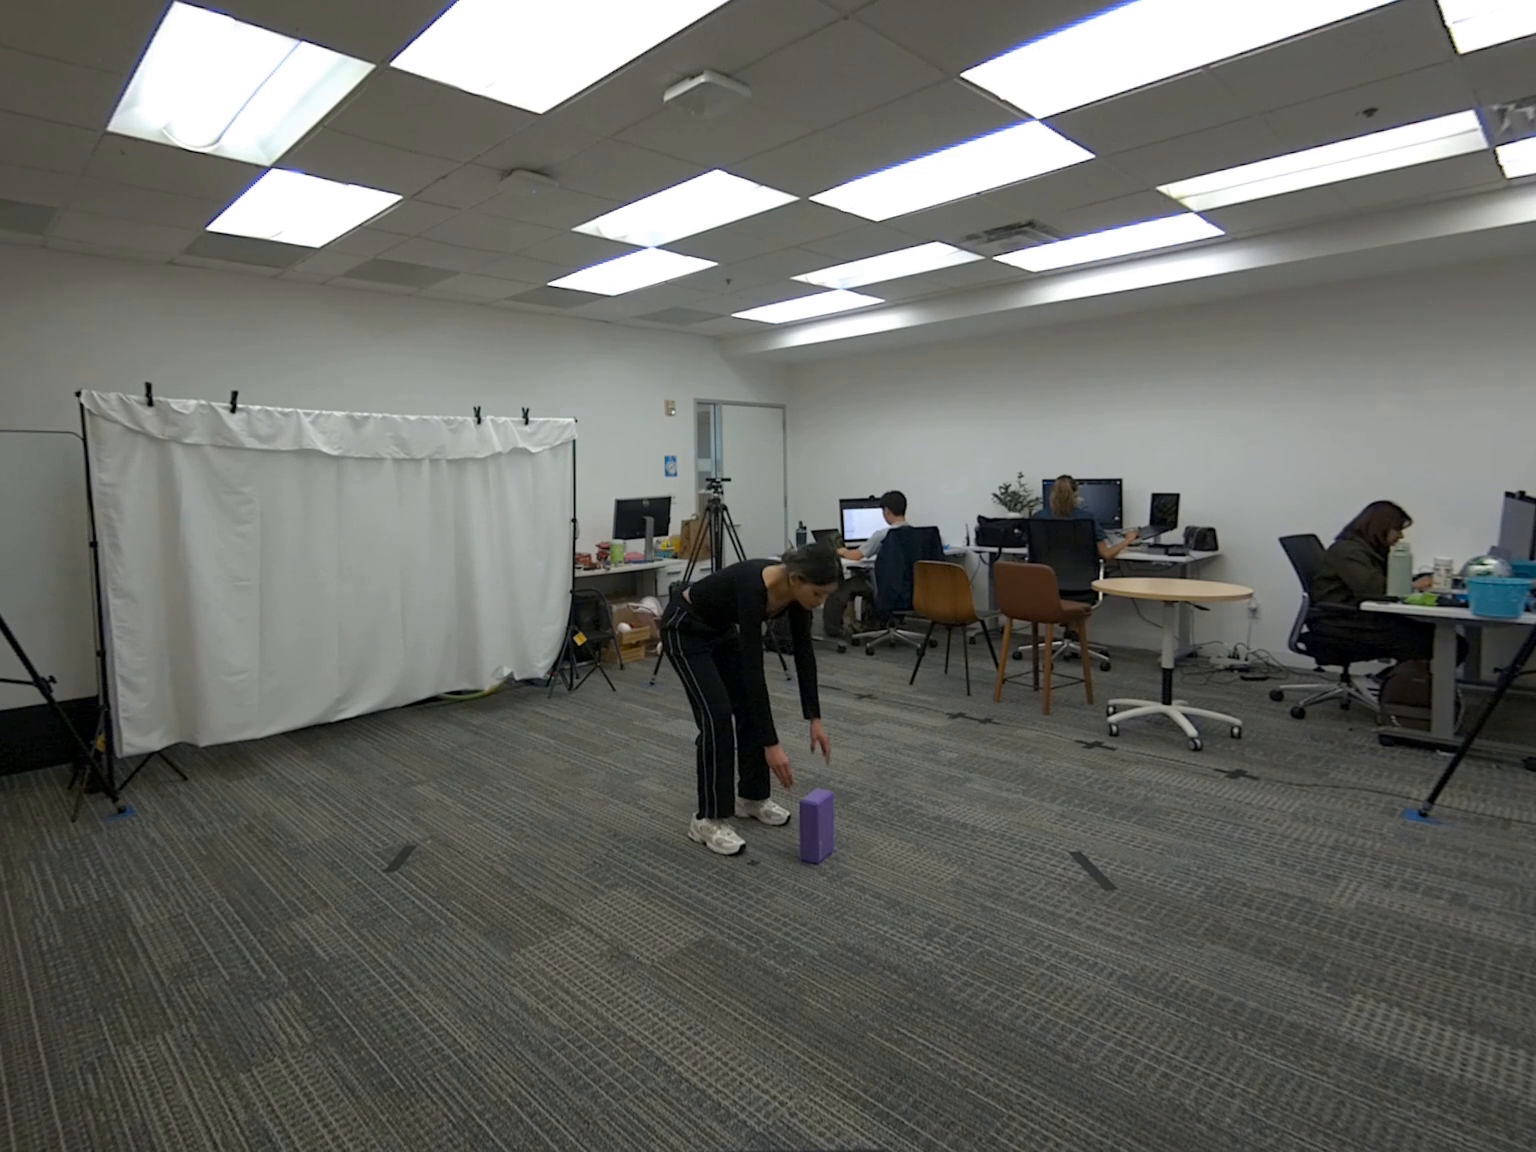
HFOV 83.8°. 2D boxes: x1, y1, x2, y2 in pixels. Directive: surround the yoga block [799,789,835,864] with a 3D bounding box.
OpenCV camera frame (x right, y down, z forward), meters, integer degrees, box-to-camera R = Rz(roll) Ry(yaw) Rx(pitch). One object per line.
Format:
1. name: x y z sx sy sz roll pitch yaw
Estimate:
1. yoga block: 0.179 0.916 3.145 0.078 0.228 0.146 0 4 26
